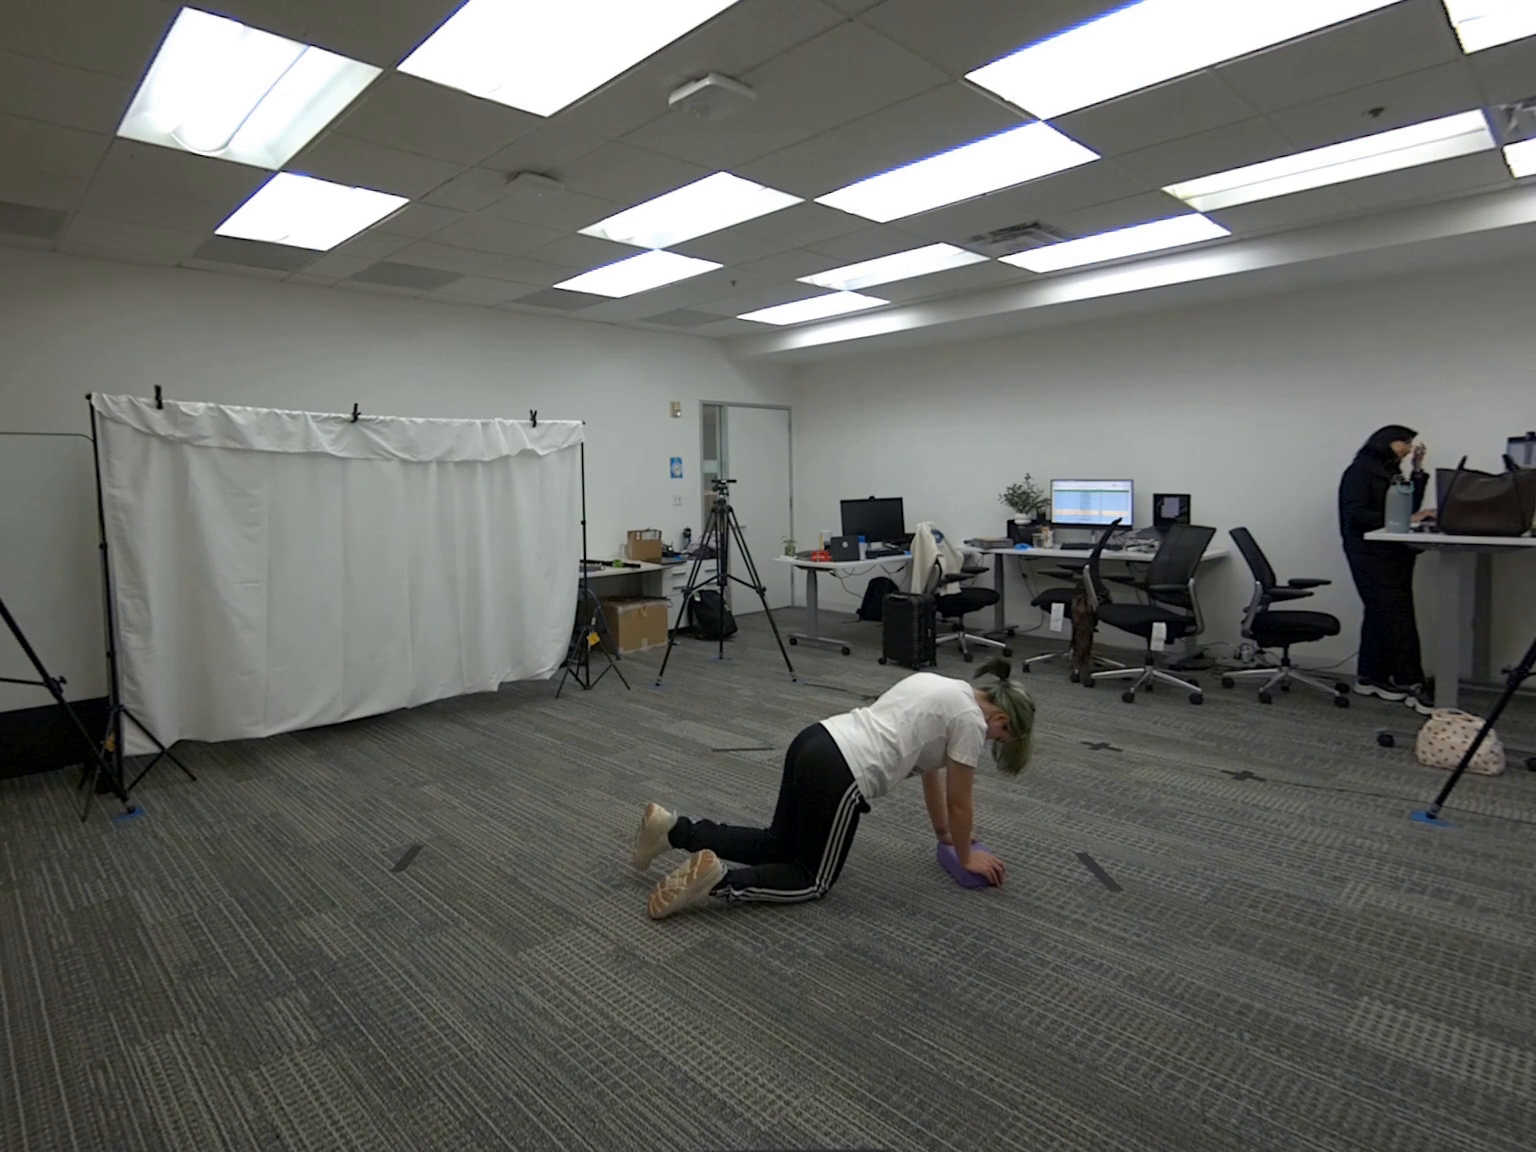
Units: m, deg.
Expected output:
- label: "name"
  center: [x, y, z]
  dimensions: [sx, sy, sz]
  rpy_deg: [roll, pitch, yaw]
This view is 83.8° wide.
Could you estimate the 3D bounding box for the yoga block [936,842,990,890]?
- label: "yoga block"
  center: [0.707, 1.006, 3.010]
  dimensions: [0.148, 0.076, 0.232]
  rpy_deg: [-2, 5, -10]
